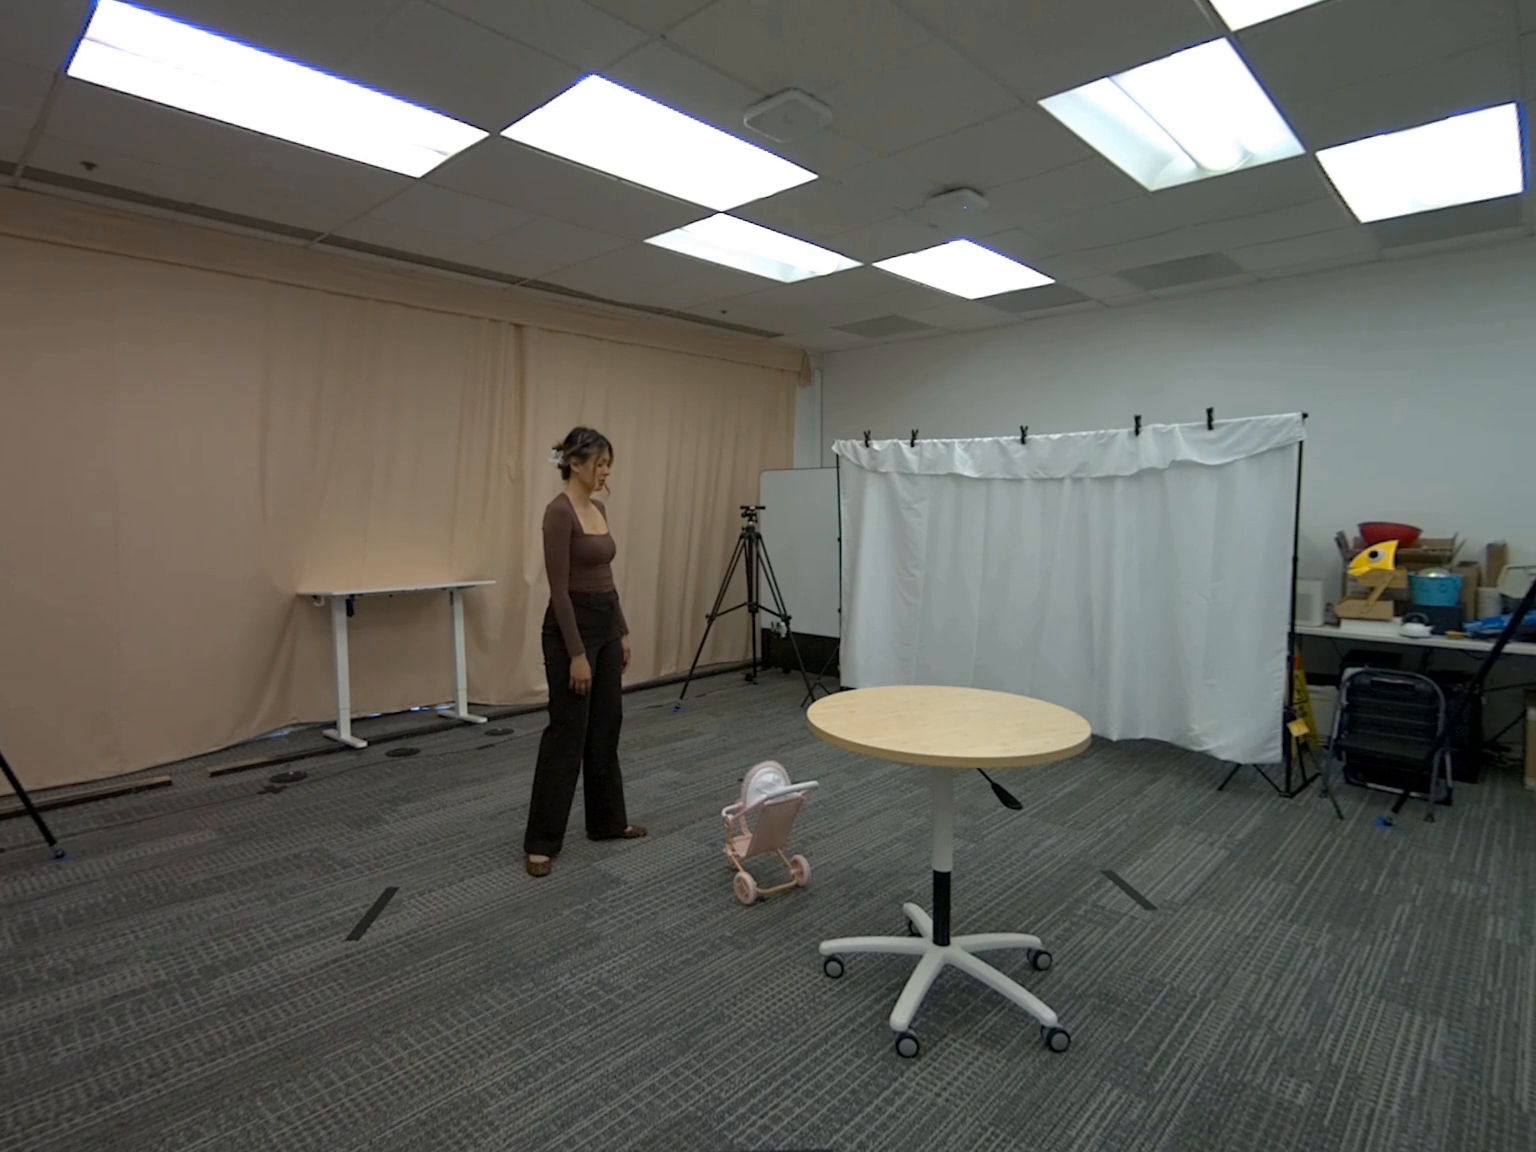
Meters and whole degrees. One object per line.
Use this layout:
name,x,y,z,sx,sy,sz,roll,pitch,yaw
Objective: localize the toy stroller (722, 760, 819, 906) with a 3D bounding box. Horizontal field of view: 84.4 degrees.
toy stroller,-0.015,0.910,3.063,0.274,0.531,0.353,-2,19,-31
